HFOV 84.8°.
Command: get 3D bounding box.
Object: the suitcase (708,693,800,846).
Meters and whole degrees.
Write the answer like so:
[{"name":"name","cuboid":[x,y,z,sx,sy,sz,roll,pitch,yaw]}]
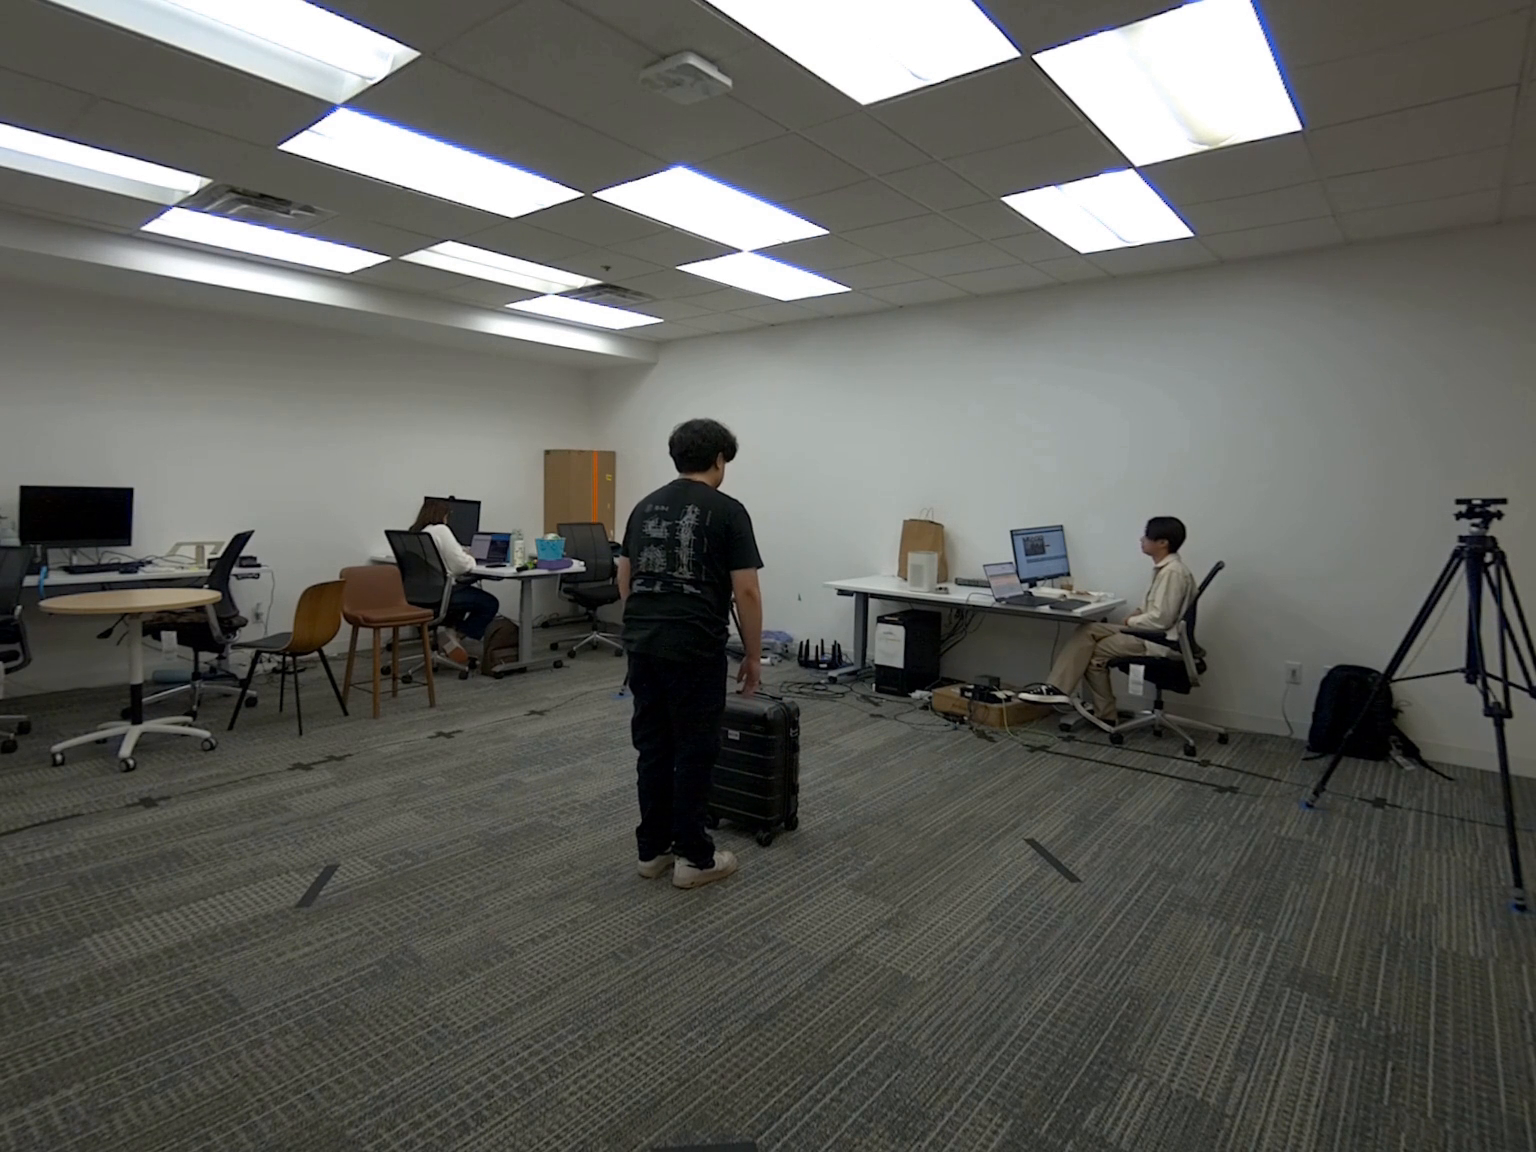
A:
[{"name":"suitcase","cuboid":[-0.071,0.760,3.504,0.387,0.548,0.241,3,3,32]}]
